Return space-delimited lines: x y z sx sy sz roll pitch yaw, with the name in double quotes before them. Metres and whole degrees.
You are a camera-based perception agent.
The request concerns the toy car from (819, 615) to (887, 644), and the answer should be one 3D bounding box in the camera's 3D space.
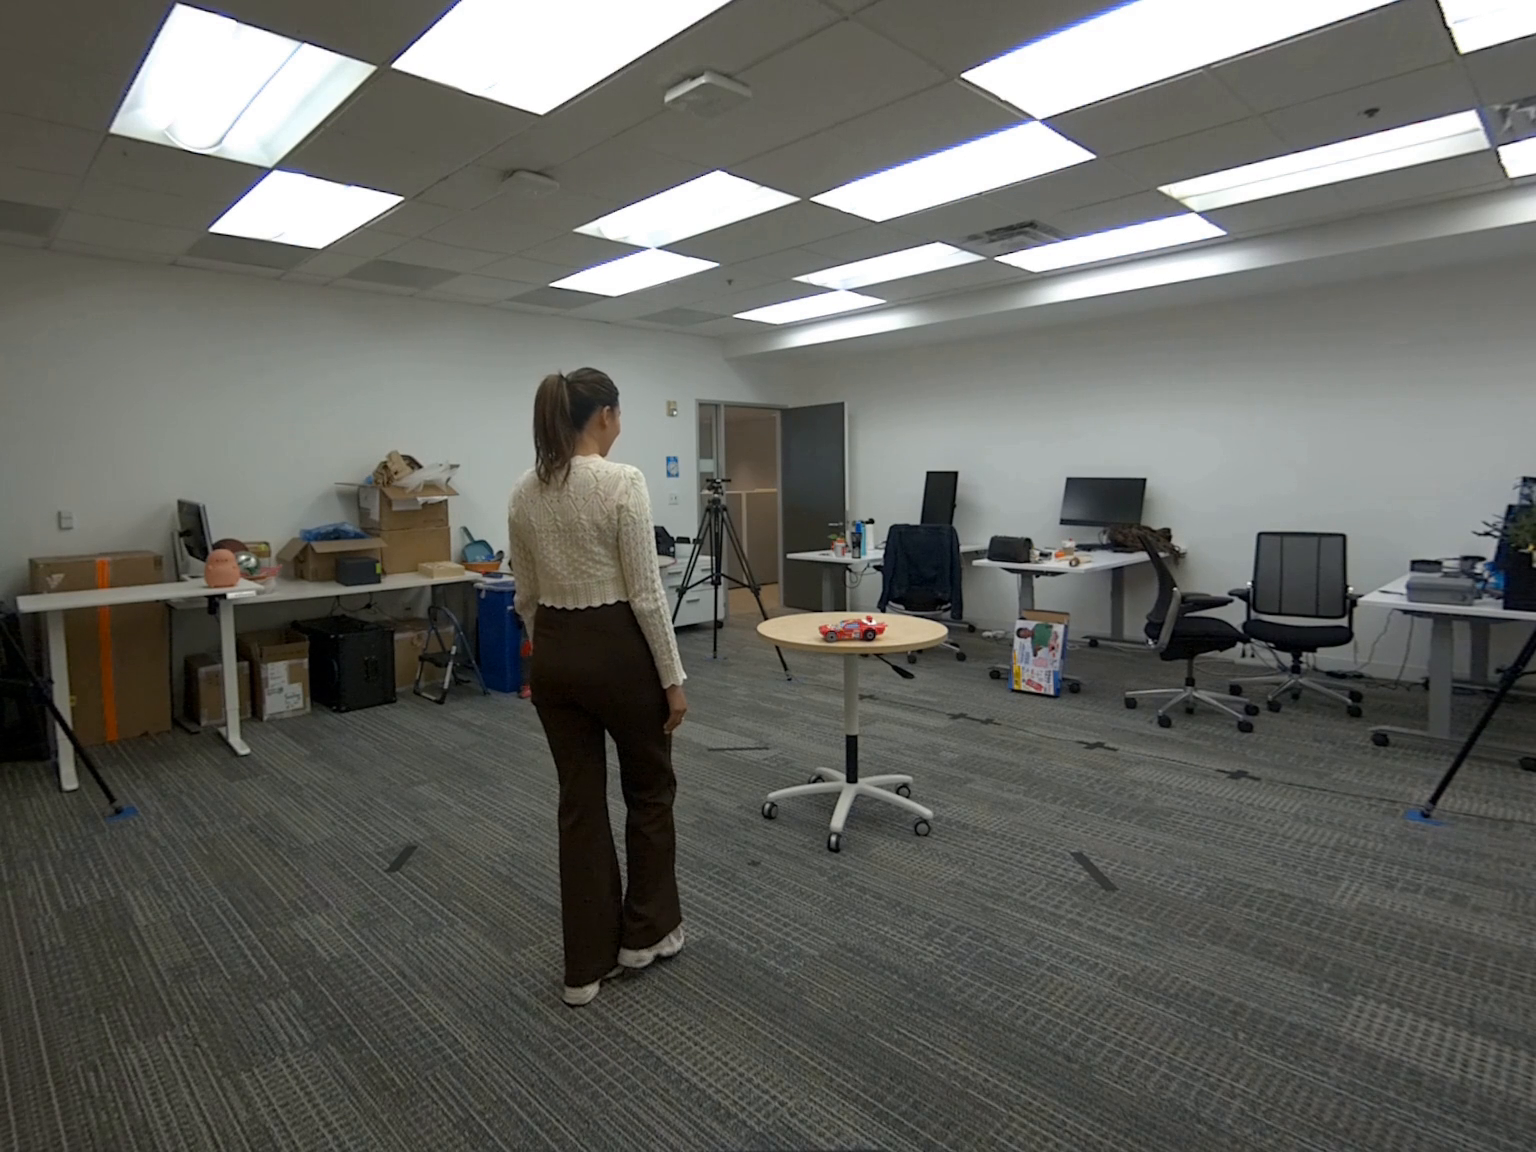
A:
"toy car" 0.340 0.206 3.236 0.254 0.082 0.131 -14 8 0
